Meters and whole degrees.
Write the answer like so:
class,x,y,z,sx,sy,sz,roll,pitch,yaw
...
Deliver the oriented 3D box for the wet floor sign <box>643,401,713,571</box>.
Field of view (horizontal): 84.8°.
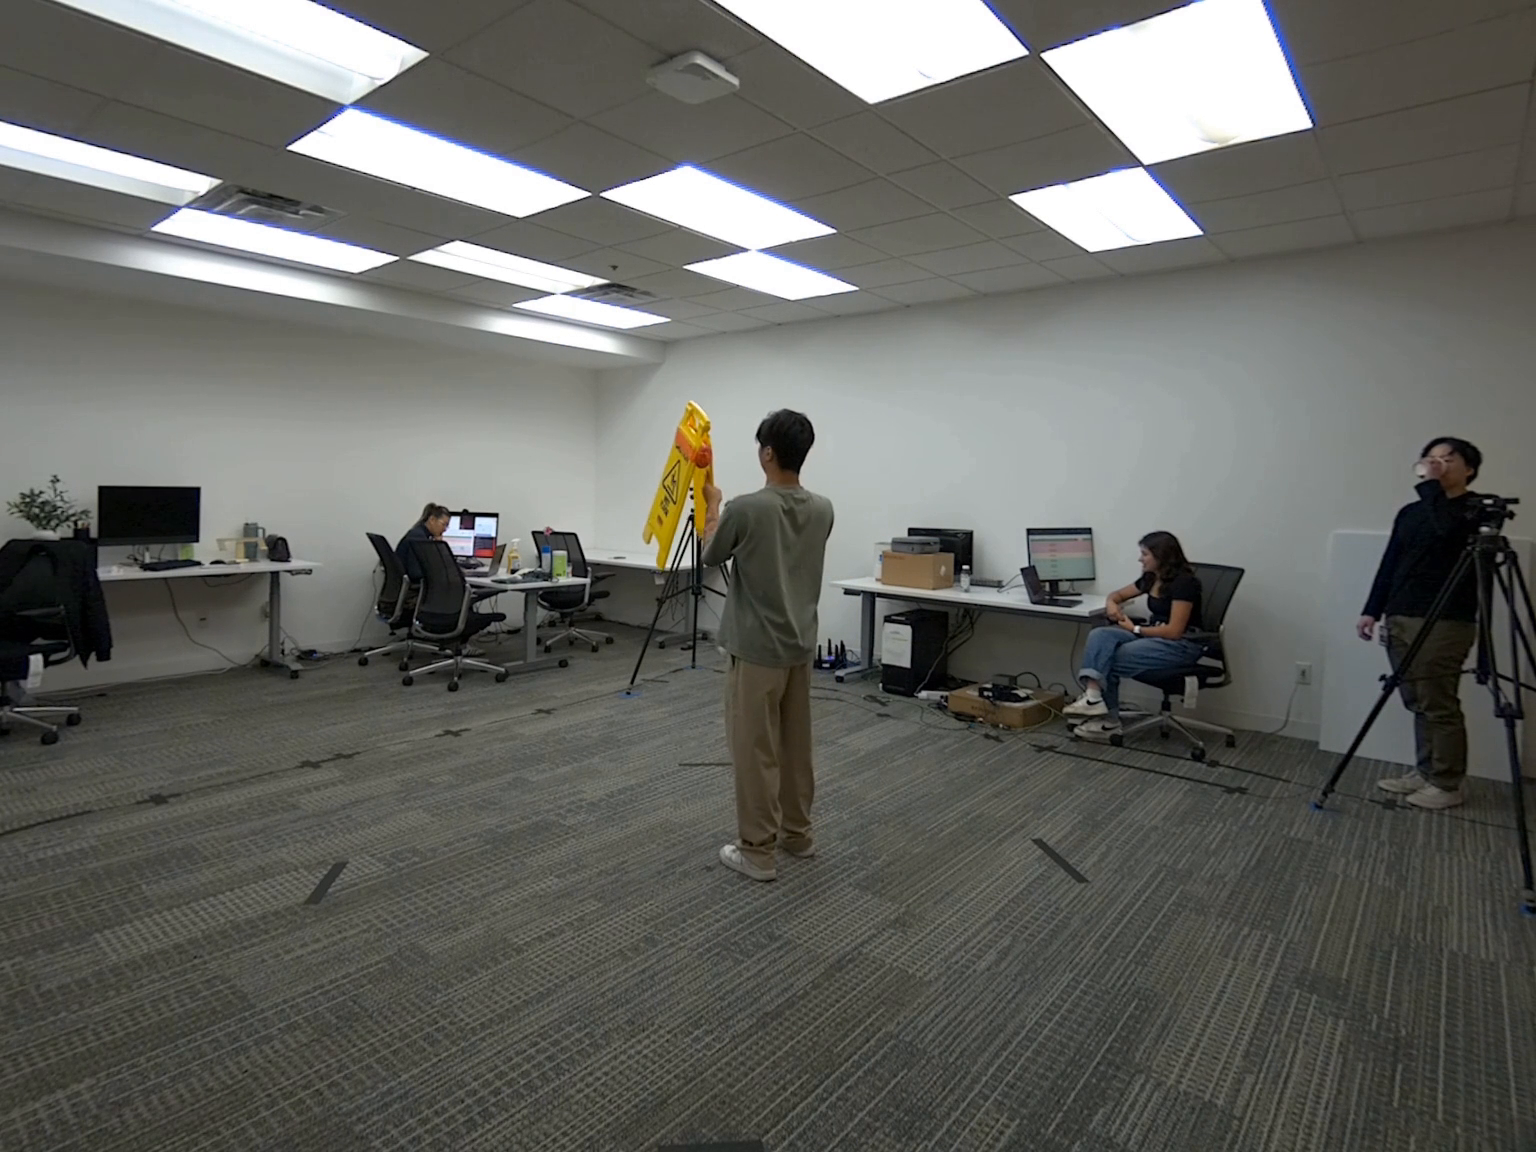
class,x,y,z,sx,sy,sz,roll,pitch,yaw
wet floor sign,-0.327,-0.375,3.450,0.283,0.633,0.294,-5,35,-24
